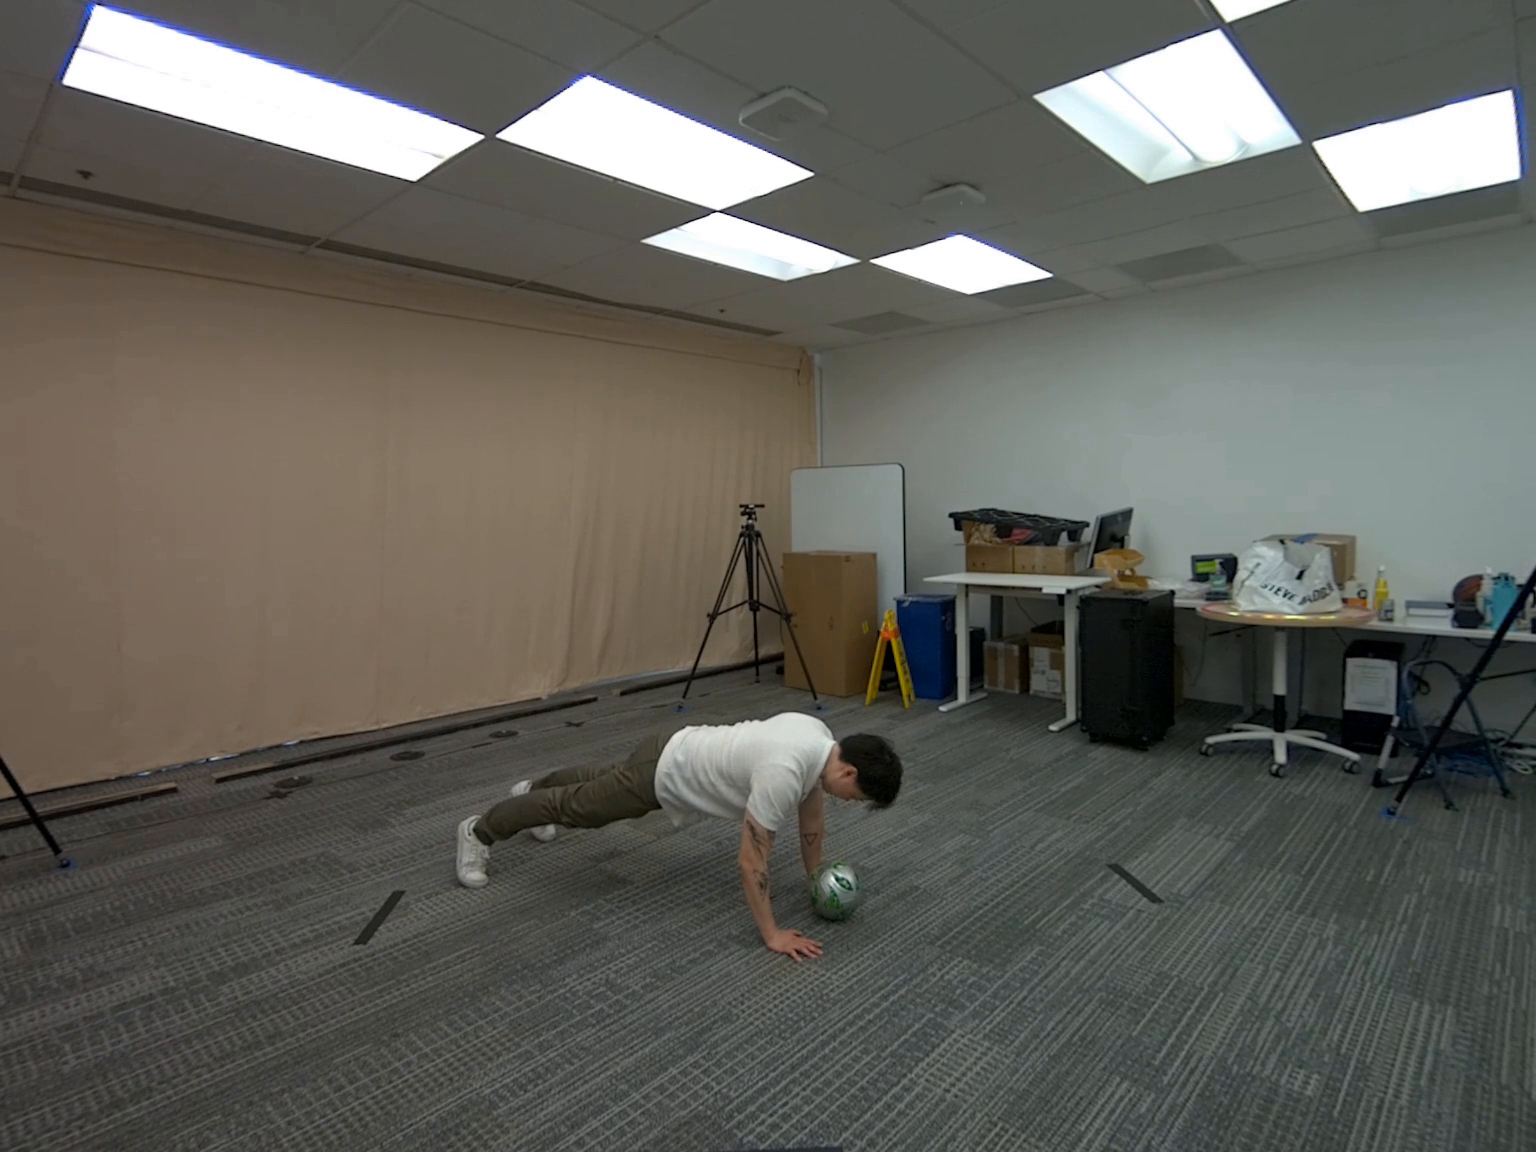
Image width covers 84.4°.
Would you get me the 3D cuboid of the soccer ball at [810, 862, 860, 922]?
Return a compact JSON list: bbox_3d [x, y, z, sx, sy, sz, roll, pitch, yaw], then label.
[{"bbox_3d":[0.231,1.053,2.832,0.187,0.187,0.188,-1,4,-2],"label":"soccer ball"}]
